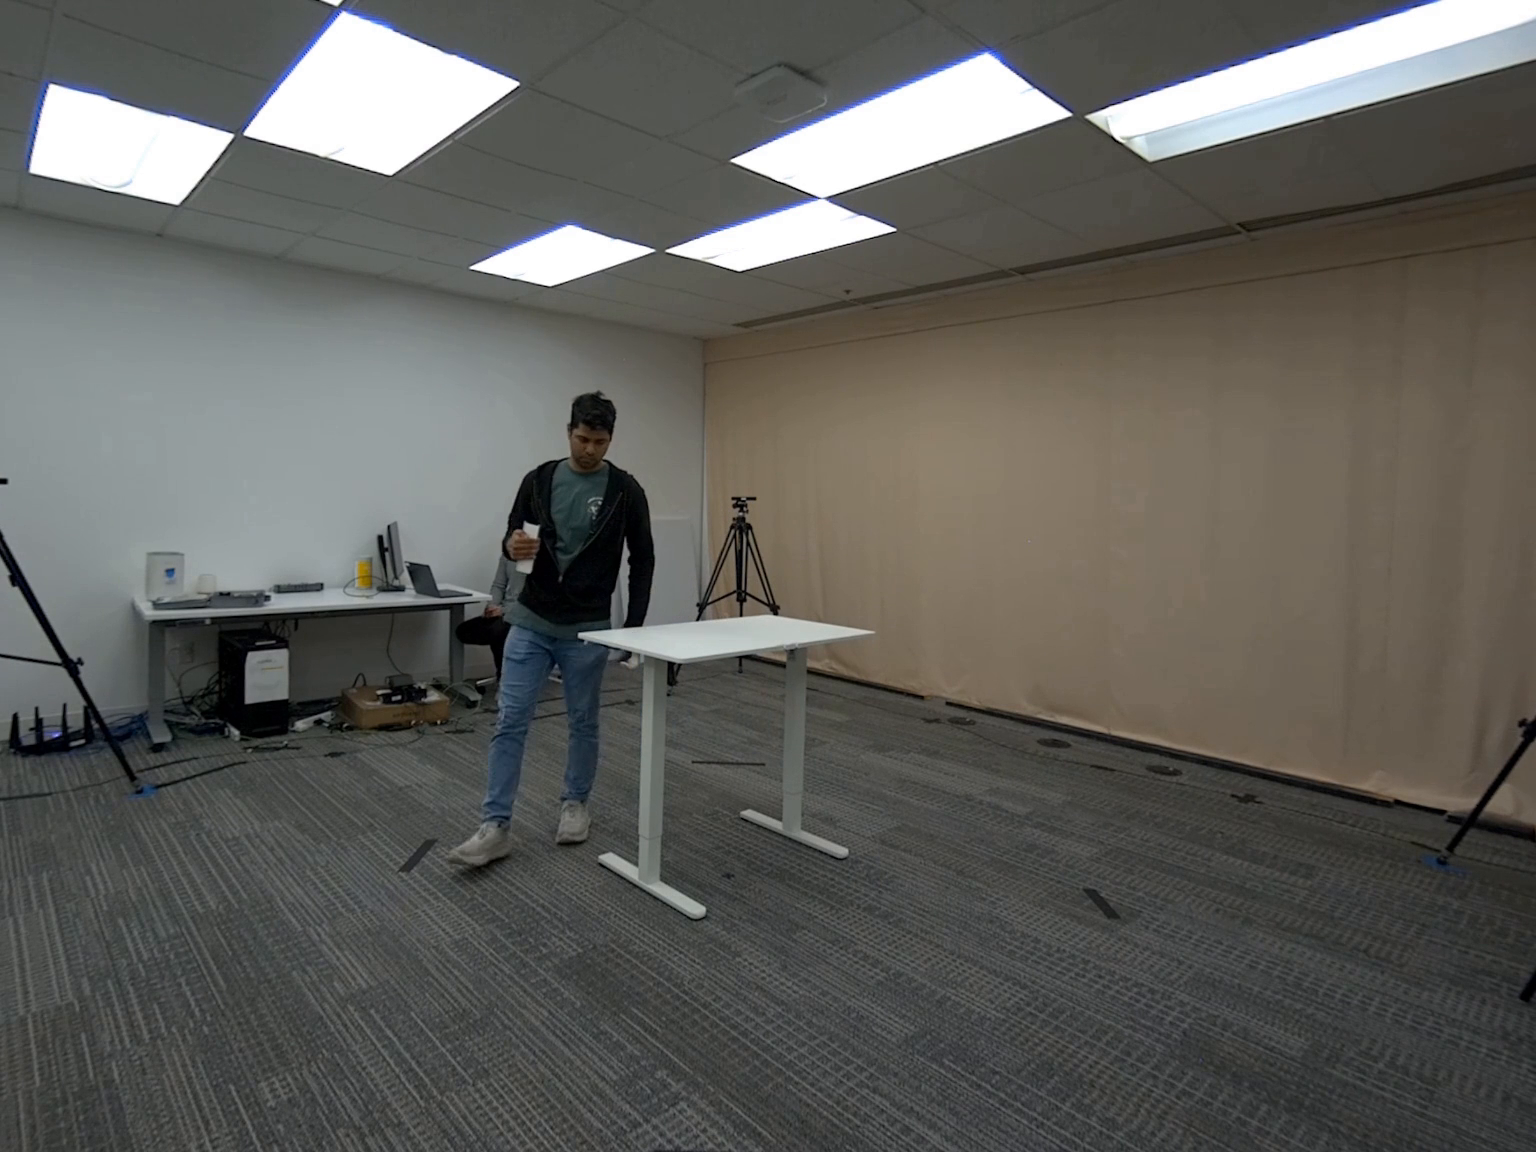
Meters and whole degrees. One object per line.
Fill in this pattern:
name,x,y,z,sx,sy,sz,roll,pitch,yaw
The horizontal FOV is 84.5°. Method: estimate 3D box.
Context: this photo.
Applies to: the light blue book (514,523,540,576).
light blue book,-0.930,-0.112,3.264,0.058,0.191,0.263,10,-1,-11
